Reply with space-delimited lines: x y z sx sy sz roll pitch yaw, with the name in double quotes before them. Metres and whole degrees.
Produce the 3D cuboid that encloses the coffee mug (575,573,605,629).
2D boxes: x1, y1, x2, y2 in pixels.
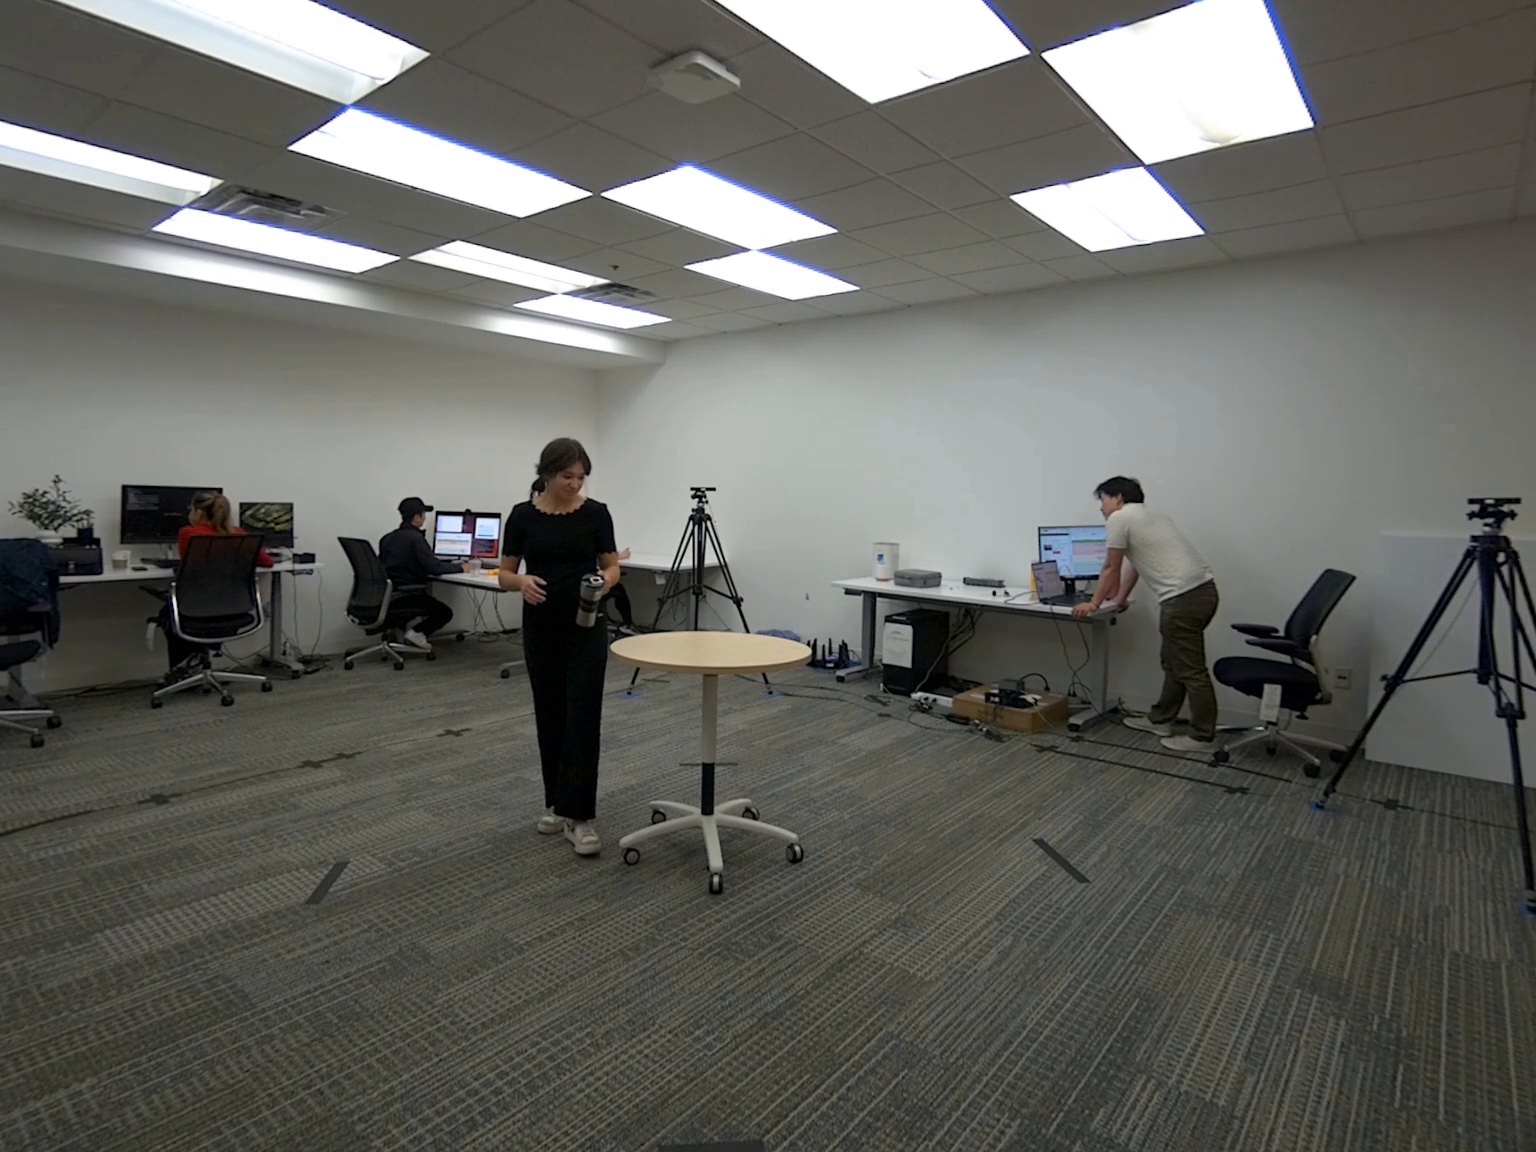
"coffee mug" -0.679 0.090 3.209 0.086 0.199 0.127 -1 33 -21
